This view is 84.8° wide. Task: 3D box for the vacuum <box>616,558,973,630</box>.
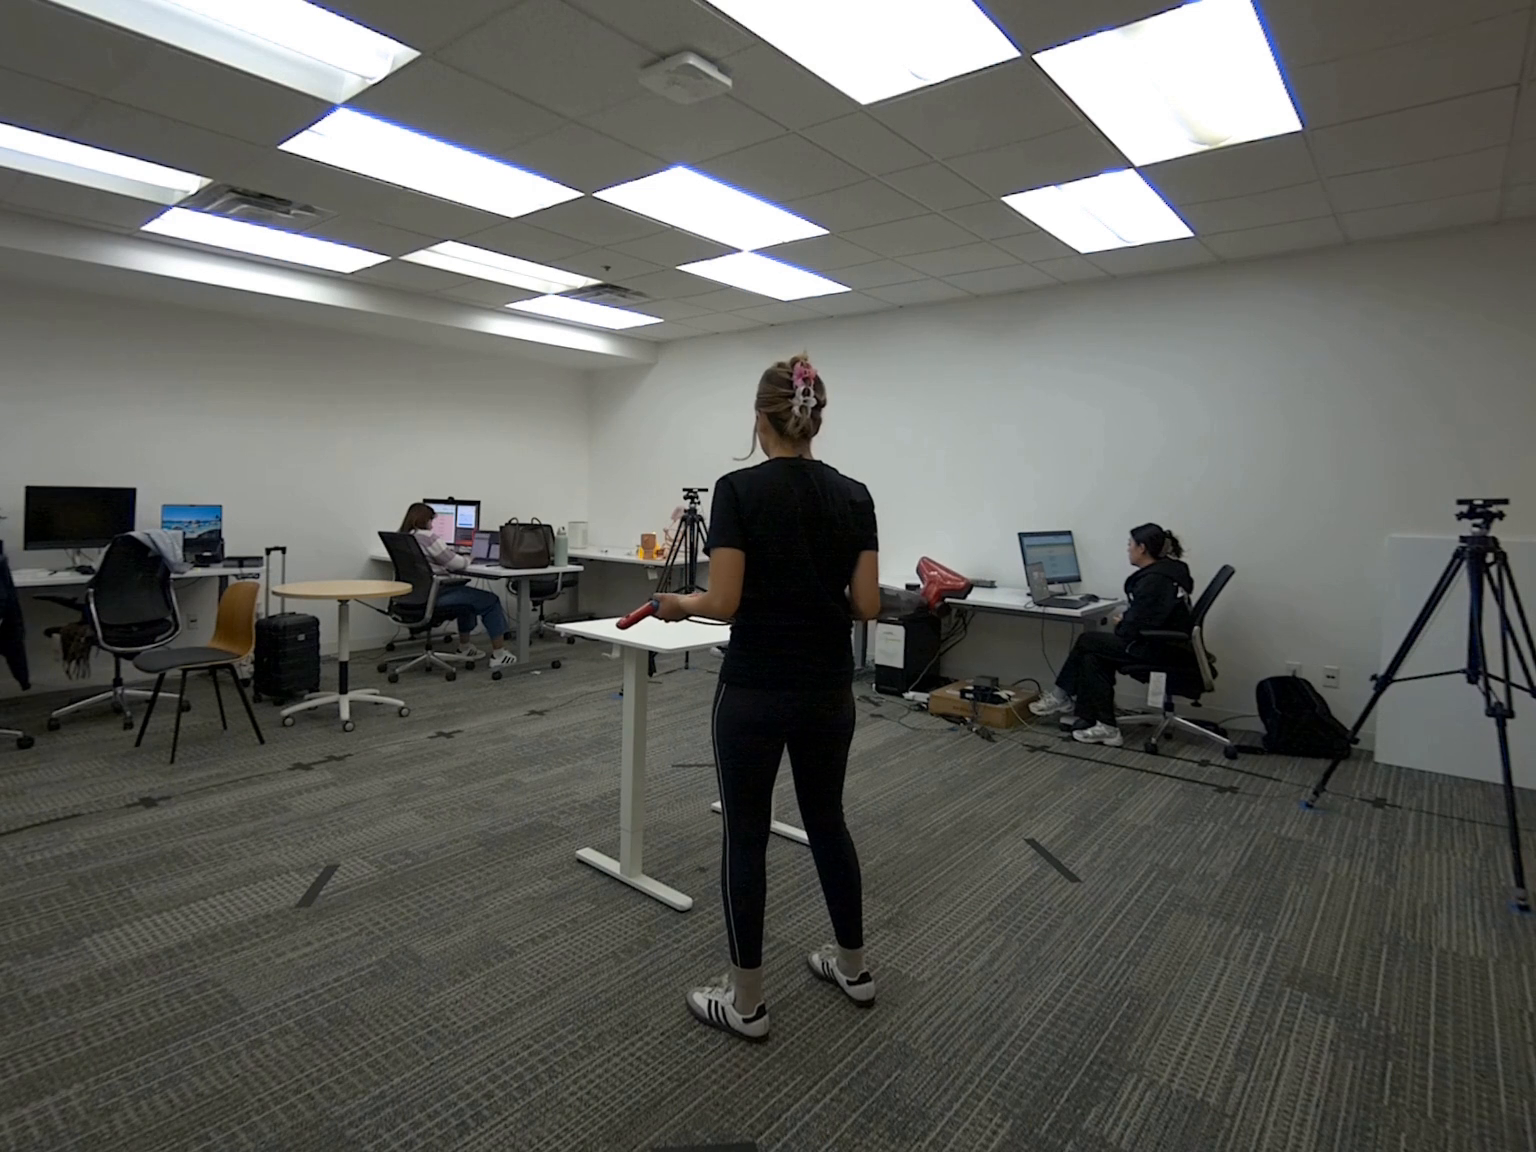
[{"bbox_3d":[0.074,0.088,2.474,1.029,0.141,0.262,-5,21,-21],"label":"vacuum"}]
